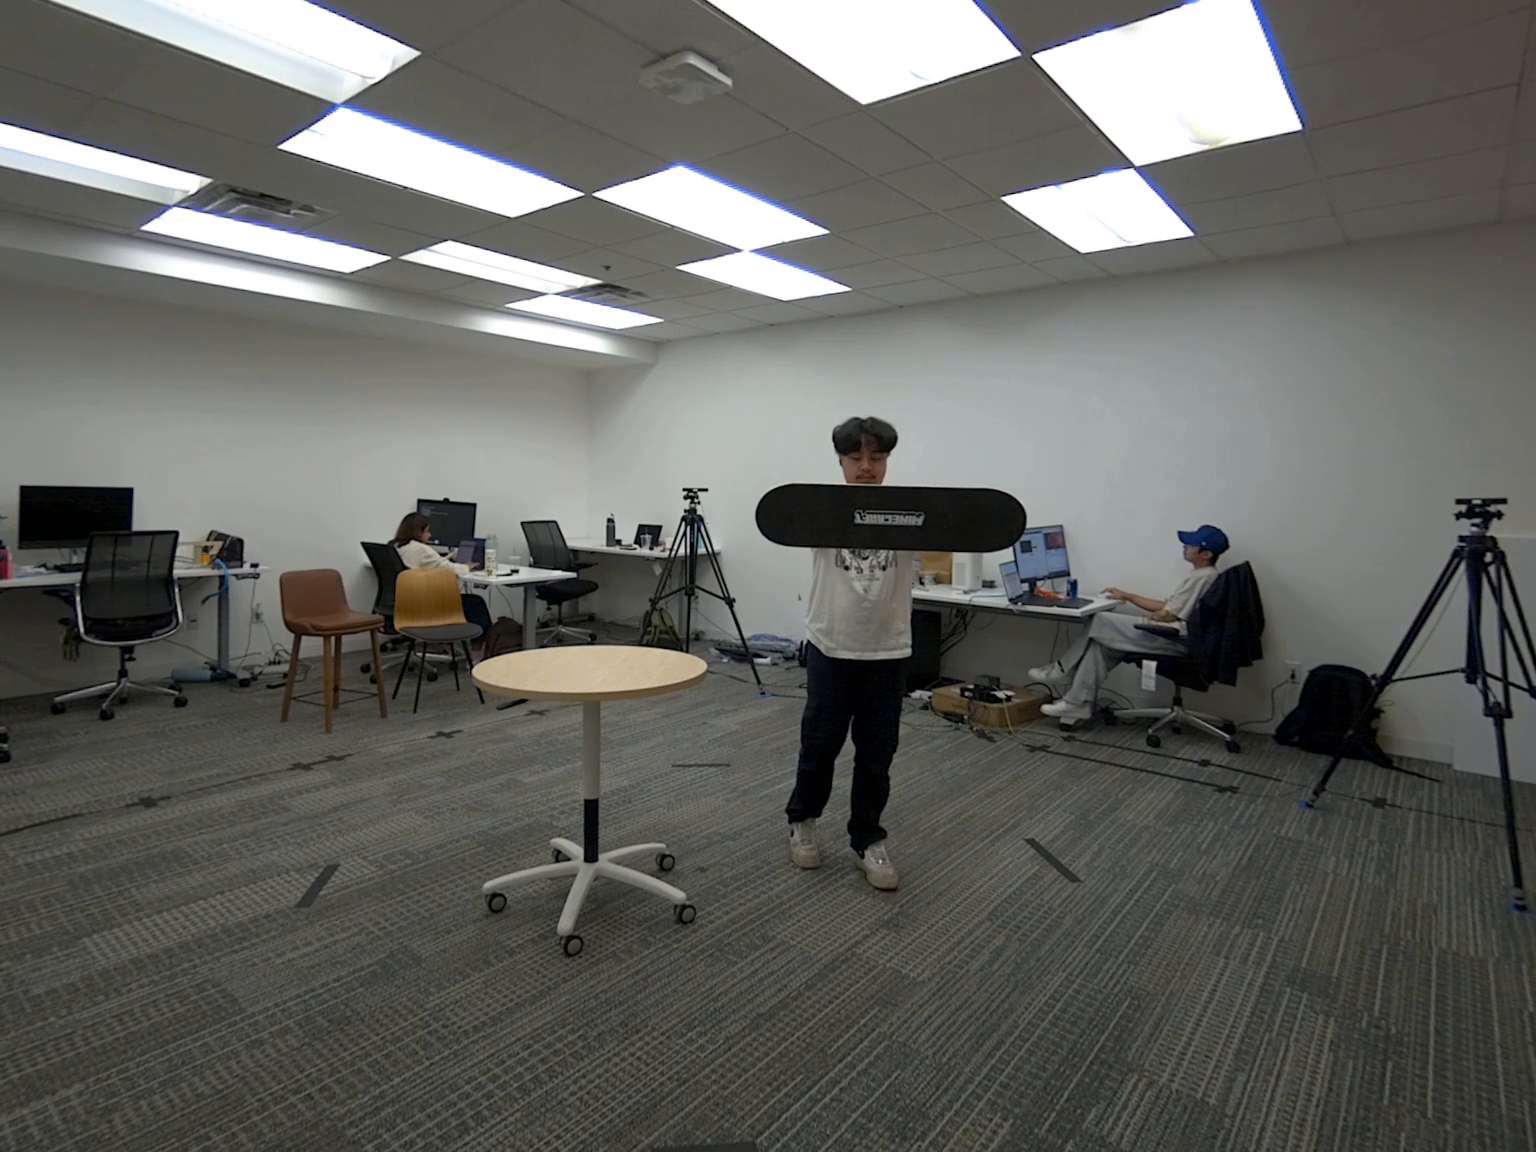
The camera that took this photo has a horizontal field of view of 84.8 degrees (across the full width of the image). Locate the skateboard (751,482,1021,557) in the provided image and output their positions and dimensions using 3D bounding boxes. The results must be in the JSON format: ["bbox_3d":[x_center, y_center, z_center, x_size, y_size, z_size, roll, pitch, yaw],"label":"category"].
[{"bbox_3d":[0.343,-0.176,2.557,0.788,0.192,0.111,2,10,4],"label":"skateboard"}]
